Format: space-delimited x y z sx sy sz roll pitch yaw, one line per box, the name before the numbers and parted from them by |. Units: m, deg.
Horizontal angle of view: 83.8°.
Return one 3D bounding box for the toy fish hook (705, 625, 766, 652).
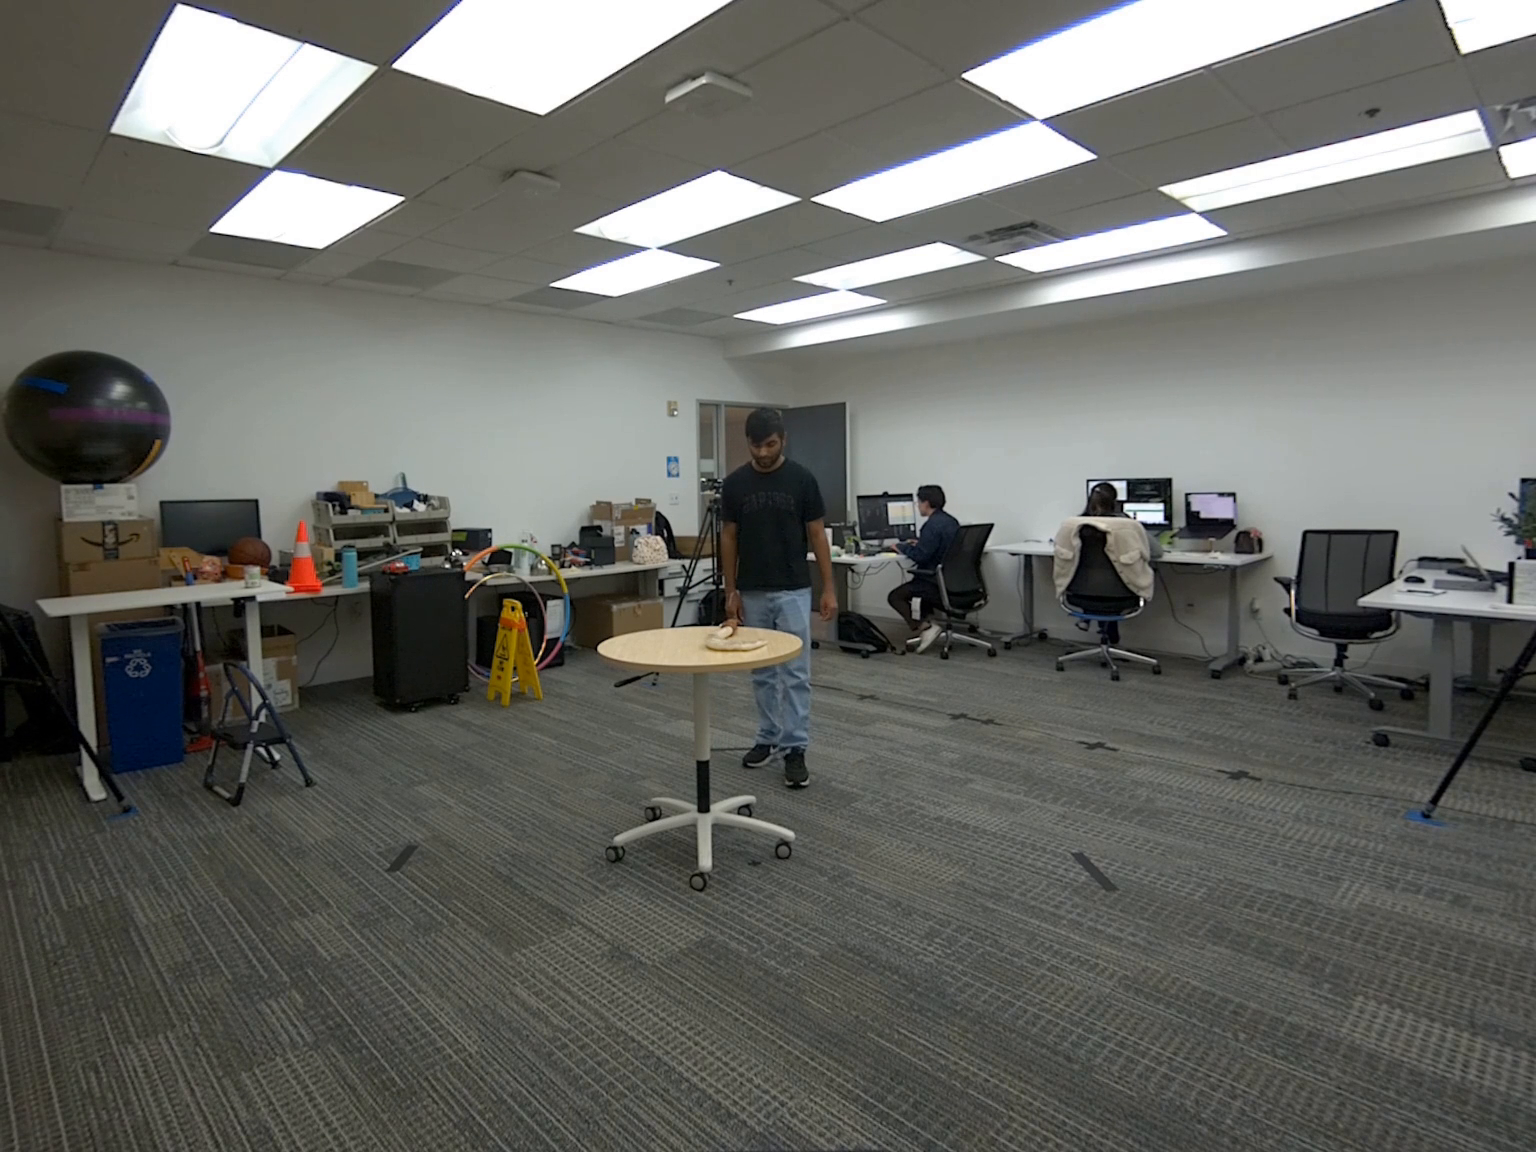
toy fish hook | -0.113 0.231 3.282 0.226 0.048 0.506 8 8 4
